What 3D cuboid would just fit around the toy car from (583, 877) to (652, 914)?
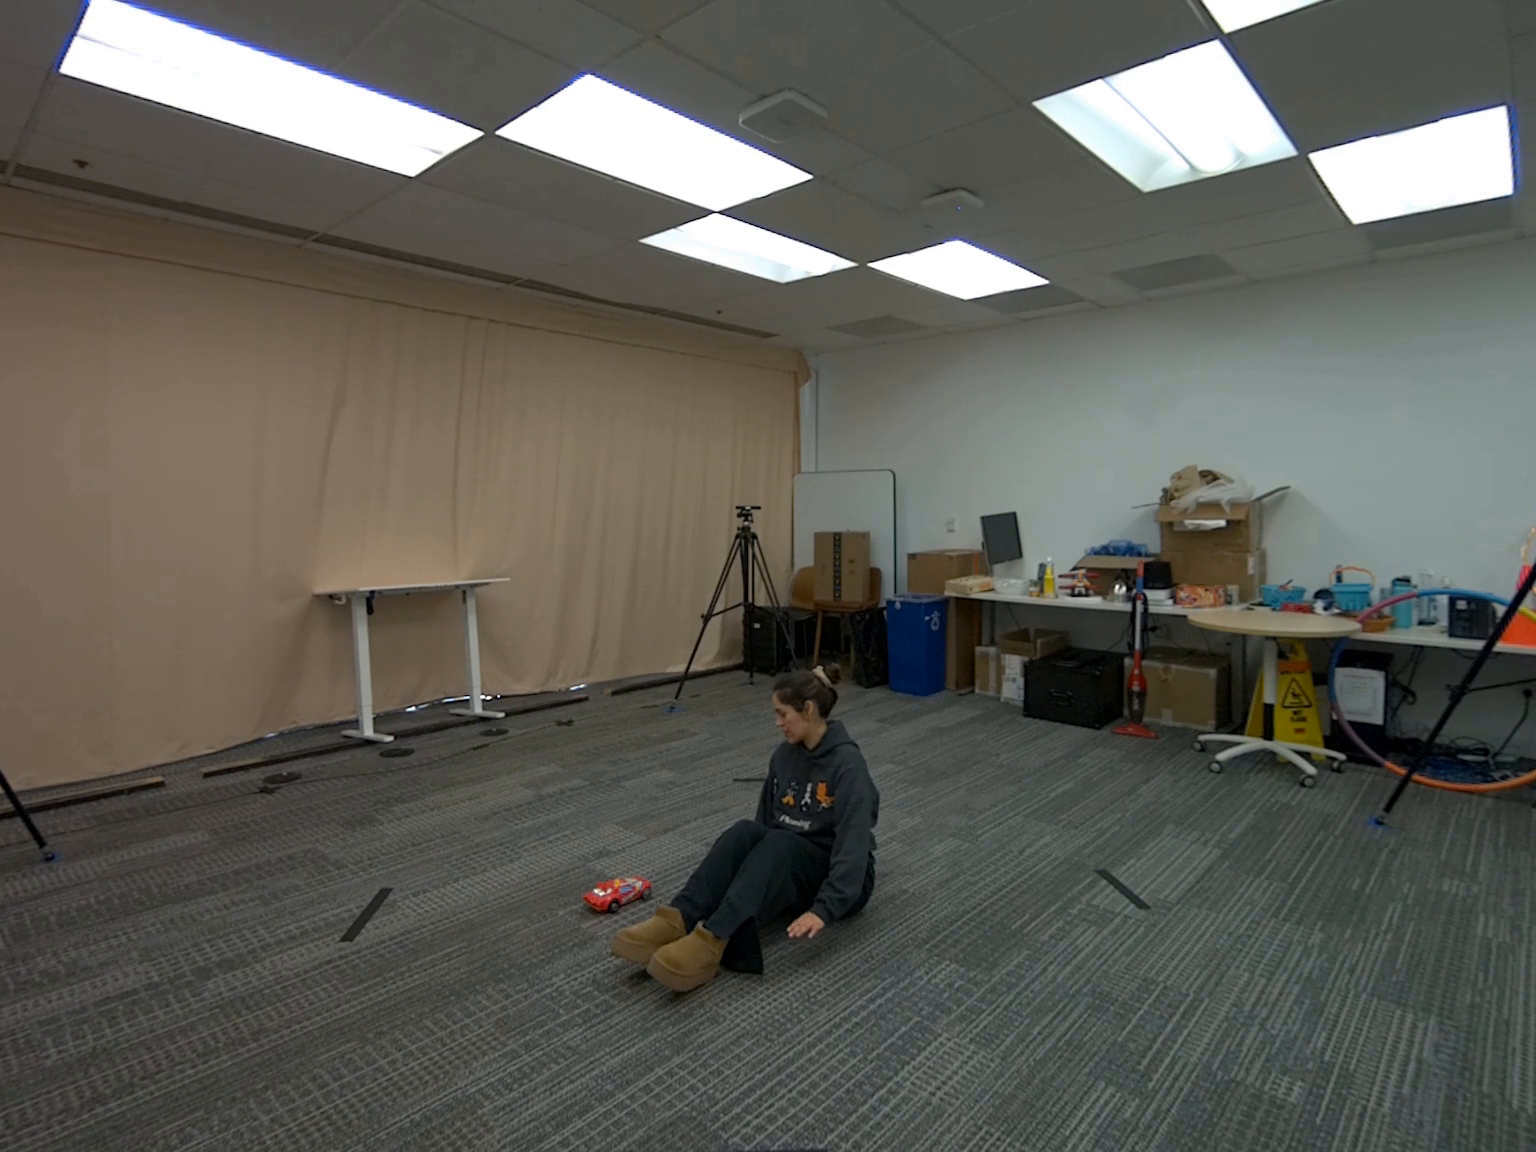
[{"bbox_3d":[-0.517,1.125,2.959,0.246,0.083,0.134,10,-5,-44],"label":"toy car"}]
